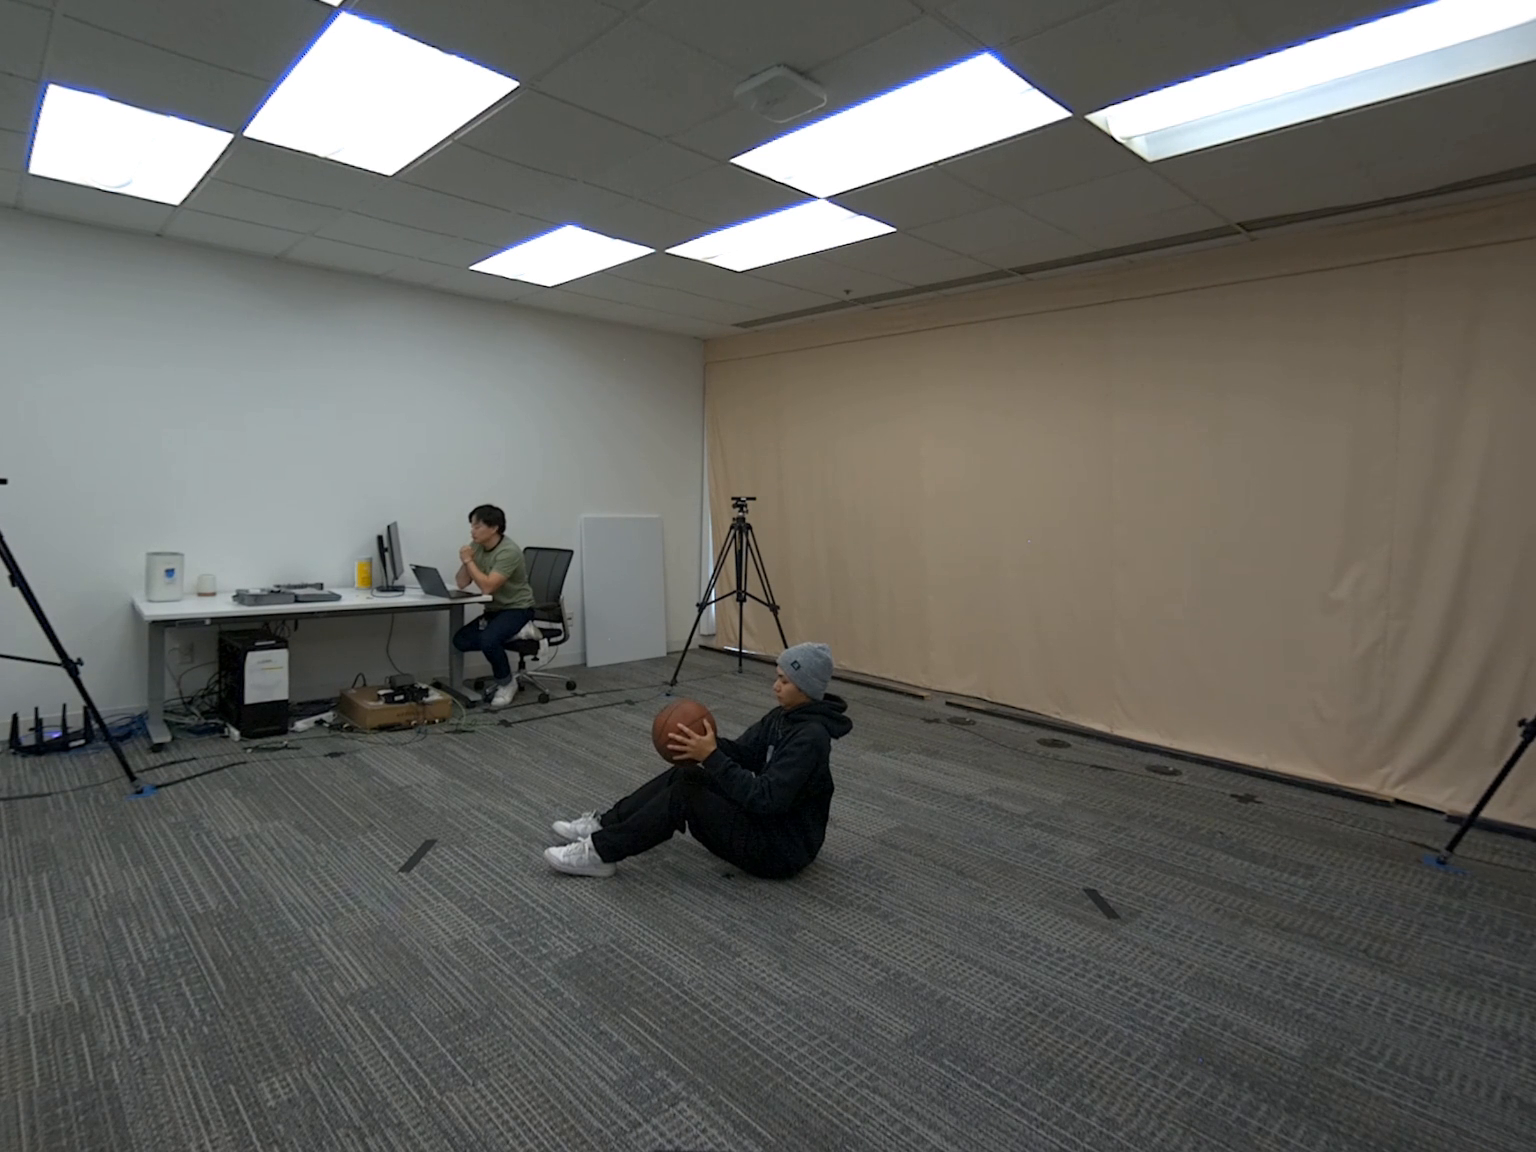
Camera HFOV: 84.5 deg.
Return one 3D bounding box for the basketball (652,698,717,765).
[{"bbox_3d":[-0.307,0.574,3.080,0.236,0.235,0.237,1,4,-1],"label":"basketball"}]
